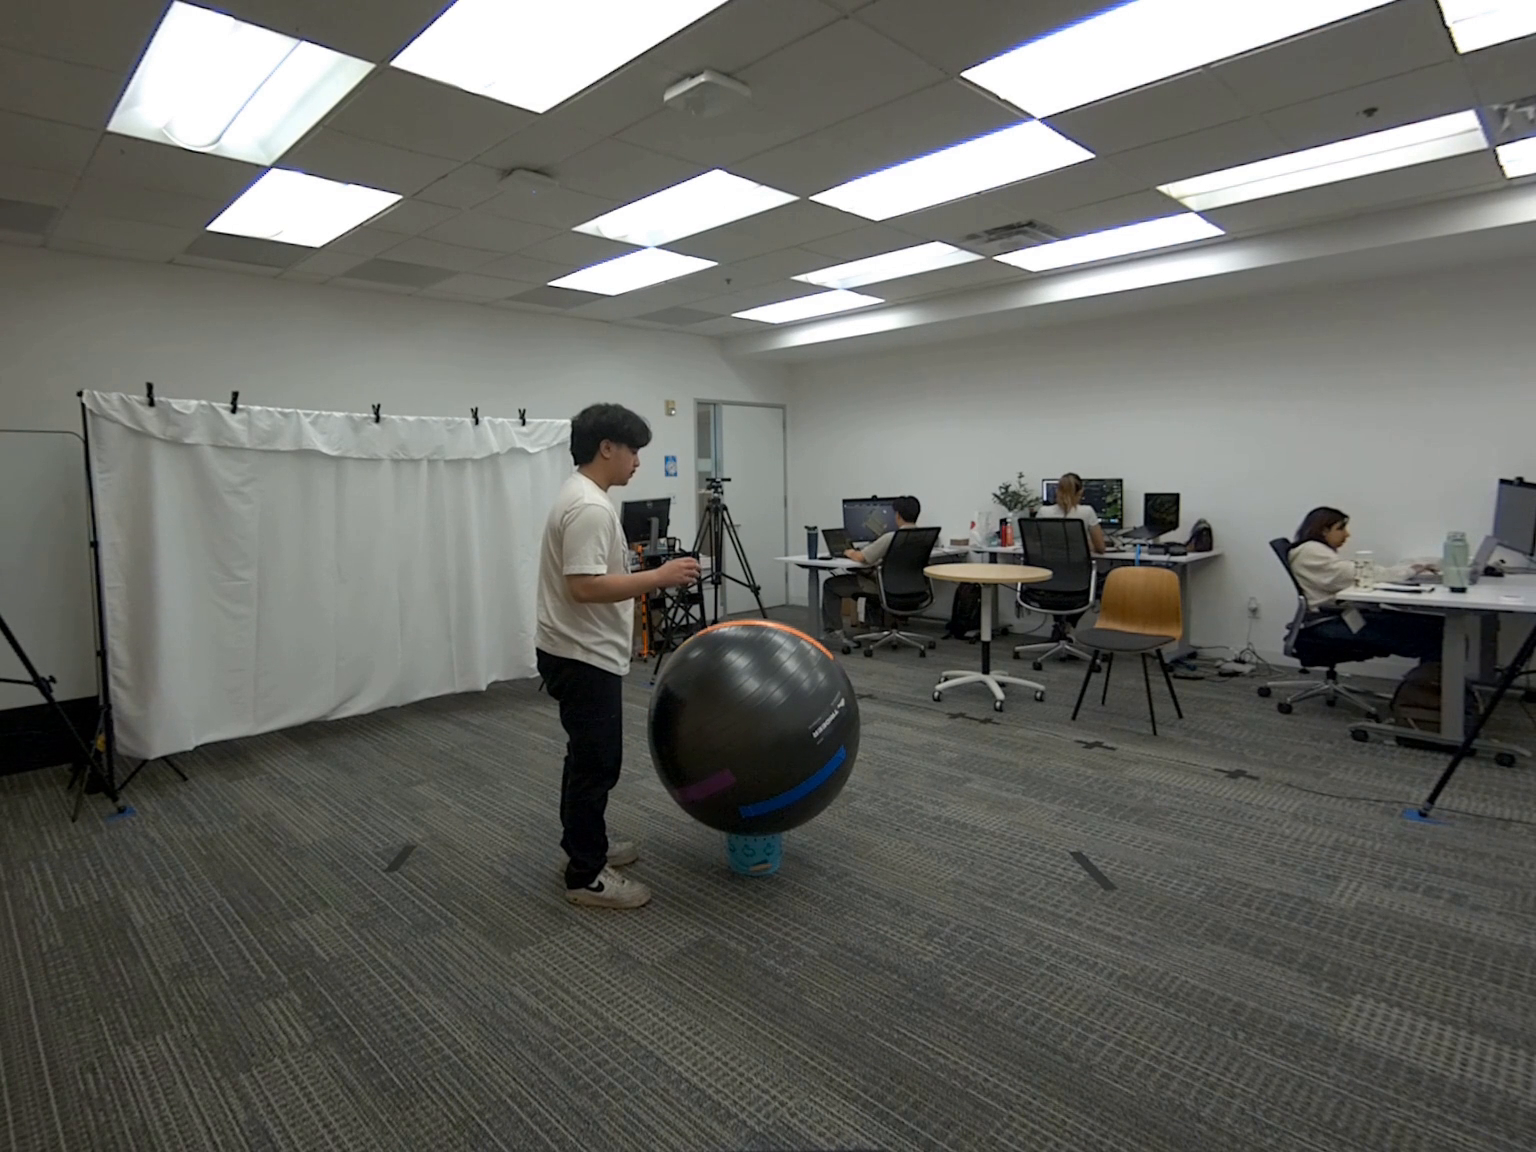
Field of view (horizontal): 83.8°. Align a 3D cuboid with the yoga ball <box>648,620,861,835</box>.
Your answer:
[{"bbox_3d":[-0.046,0.540,3.062,0.757,0.755,0.762,-1,5,-2],"label":"yoga ball"}]
